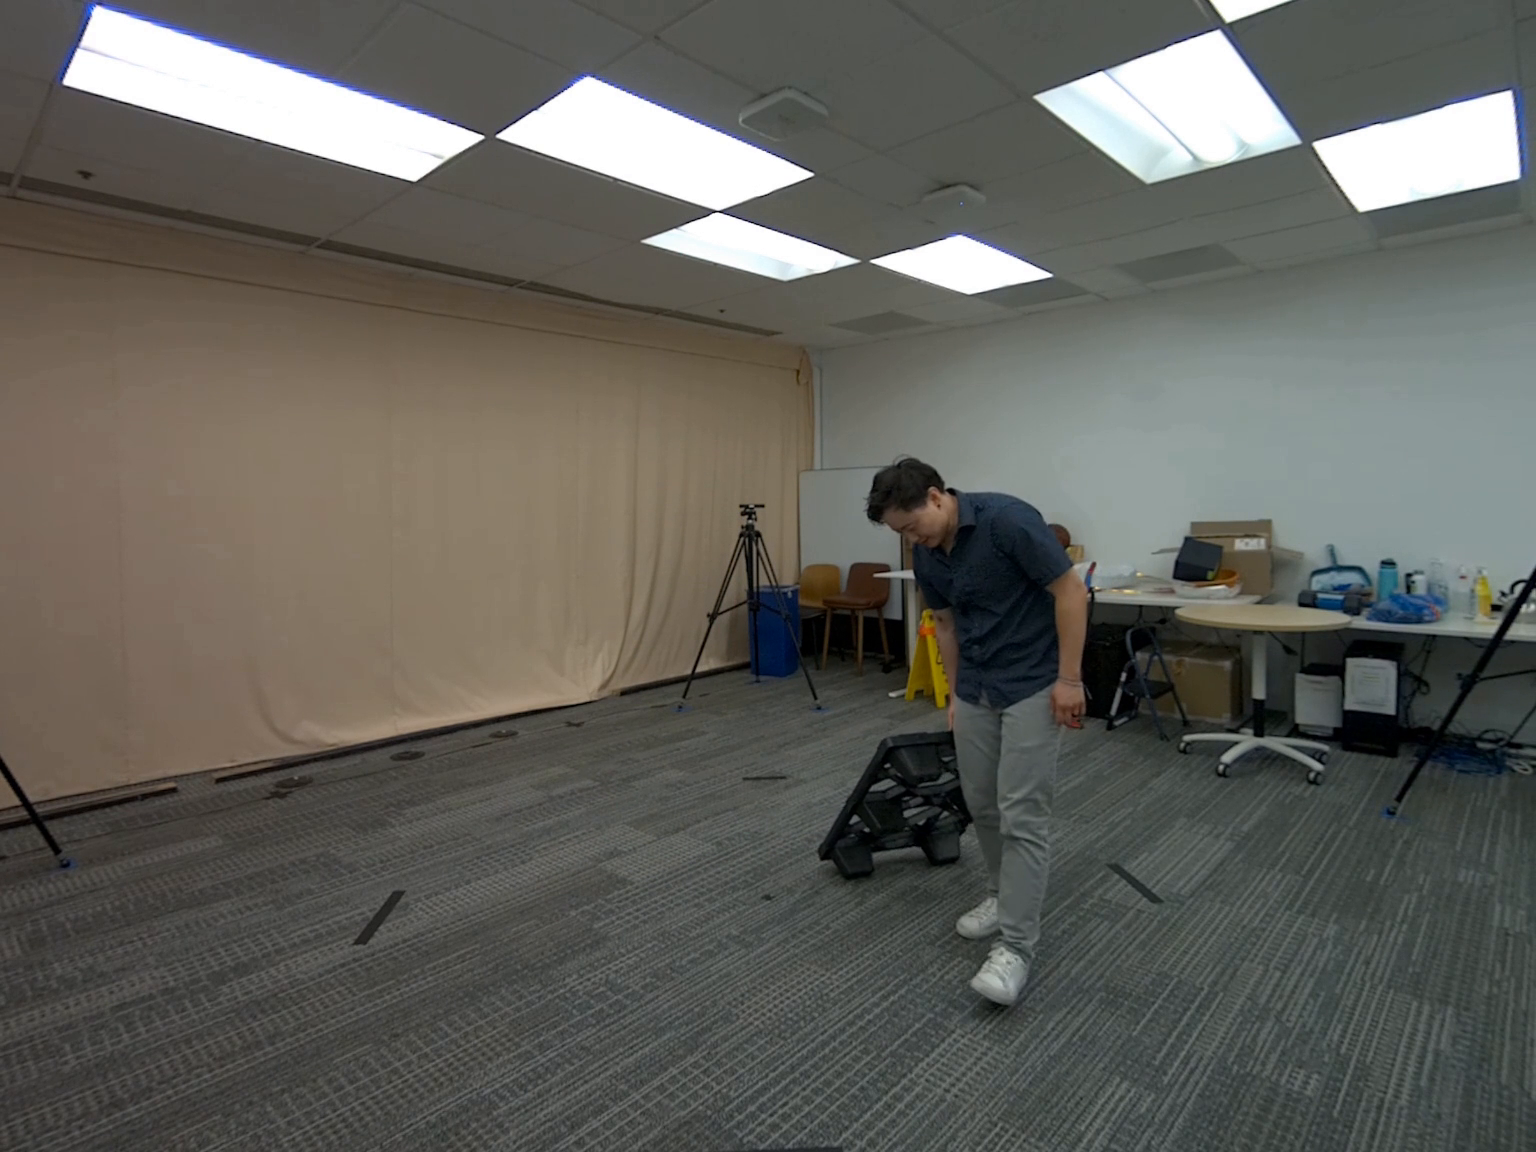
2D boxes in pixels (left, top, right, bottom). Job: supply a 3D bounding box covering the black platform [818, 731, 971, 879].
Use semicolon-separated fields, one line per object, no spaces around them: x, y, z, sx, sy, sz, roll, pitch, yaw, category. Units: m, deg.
0.585;0.815;2.970;0.594;0.798;0.147;-1;46;-18;black platform
